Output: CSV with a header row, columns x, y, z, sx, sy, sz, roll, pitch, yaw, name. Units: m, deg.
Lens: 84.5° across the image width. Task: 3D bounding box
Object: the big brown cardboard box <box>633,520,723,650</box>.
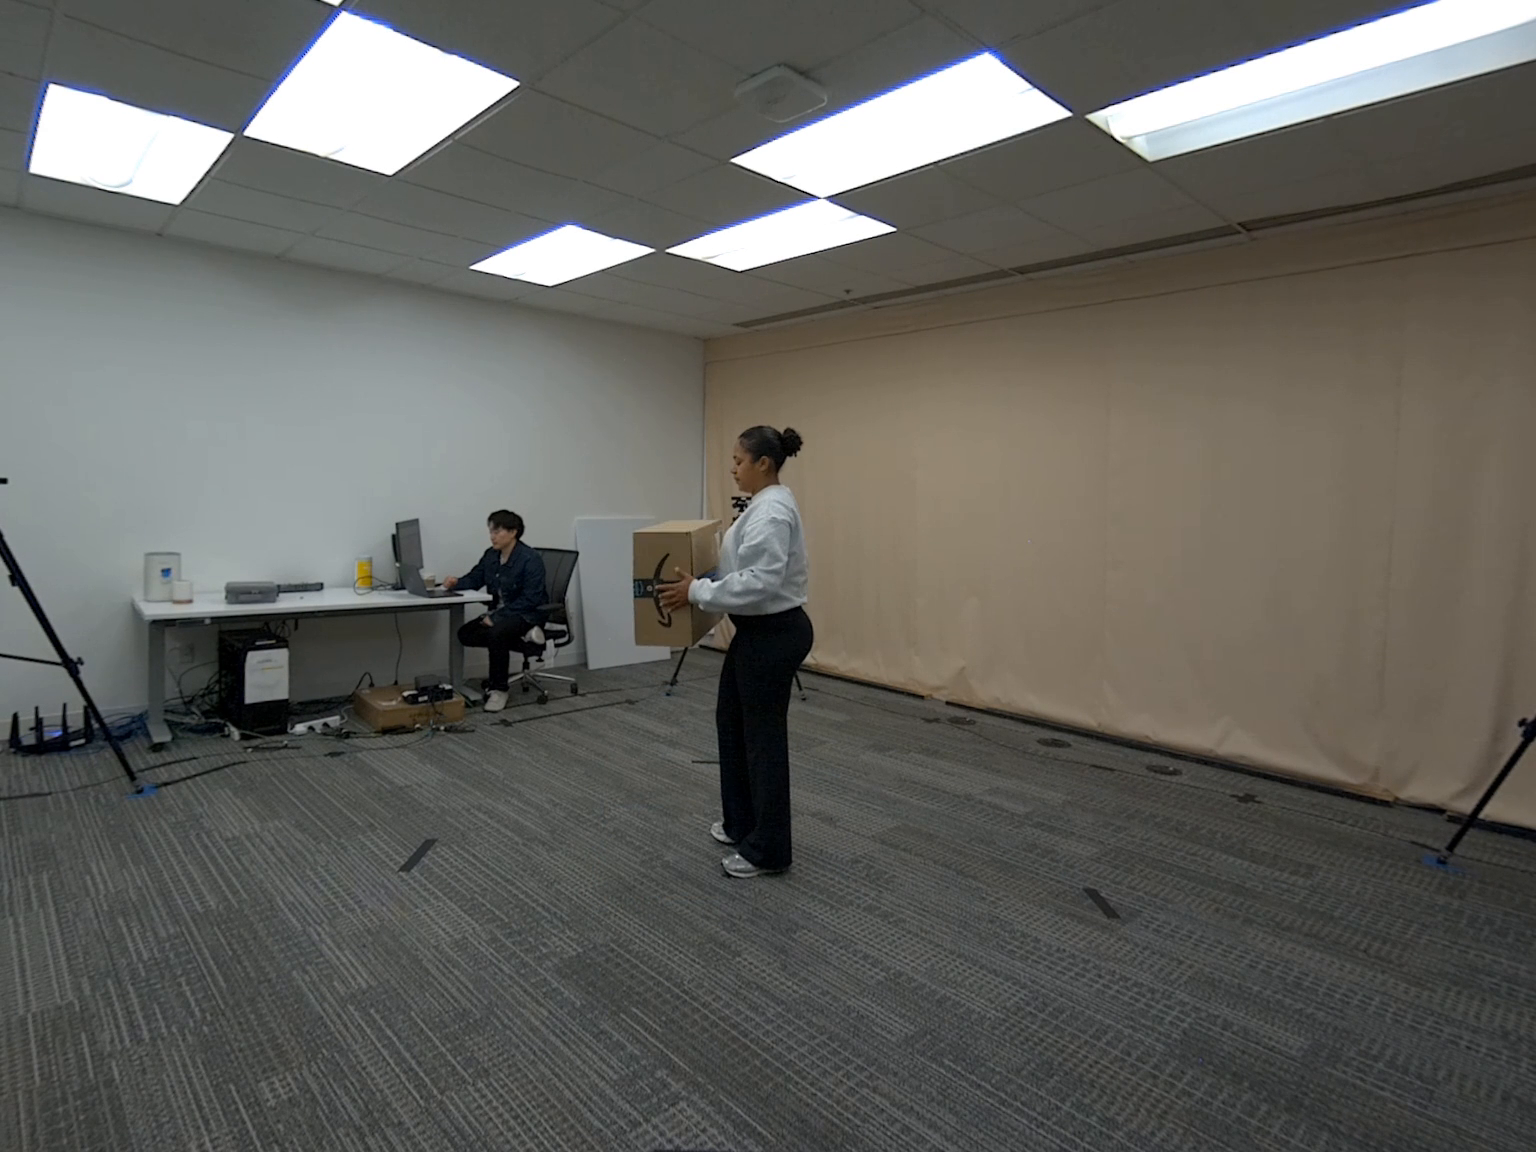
x,y,z,sx,sy,sz,roll,pitch,yaw,name
-0.342,0.009,3.275,0.235,0.415,0.587,-1,7,9,big brown cardboard box
